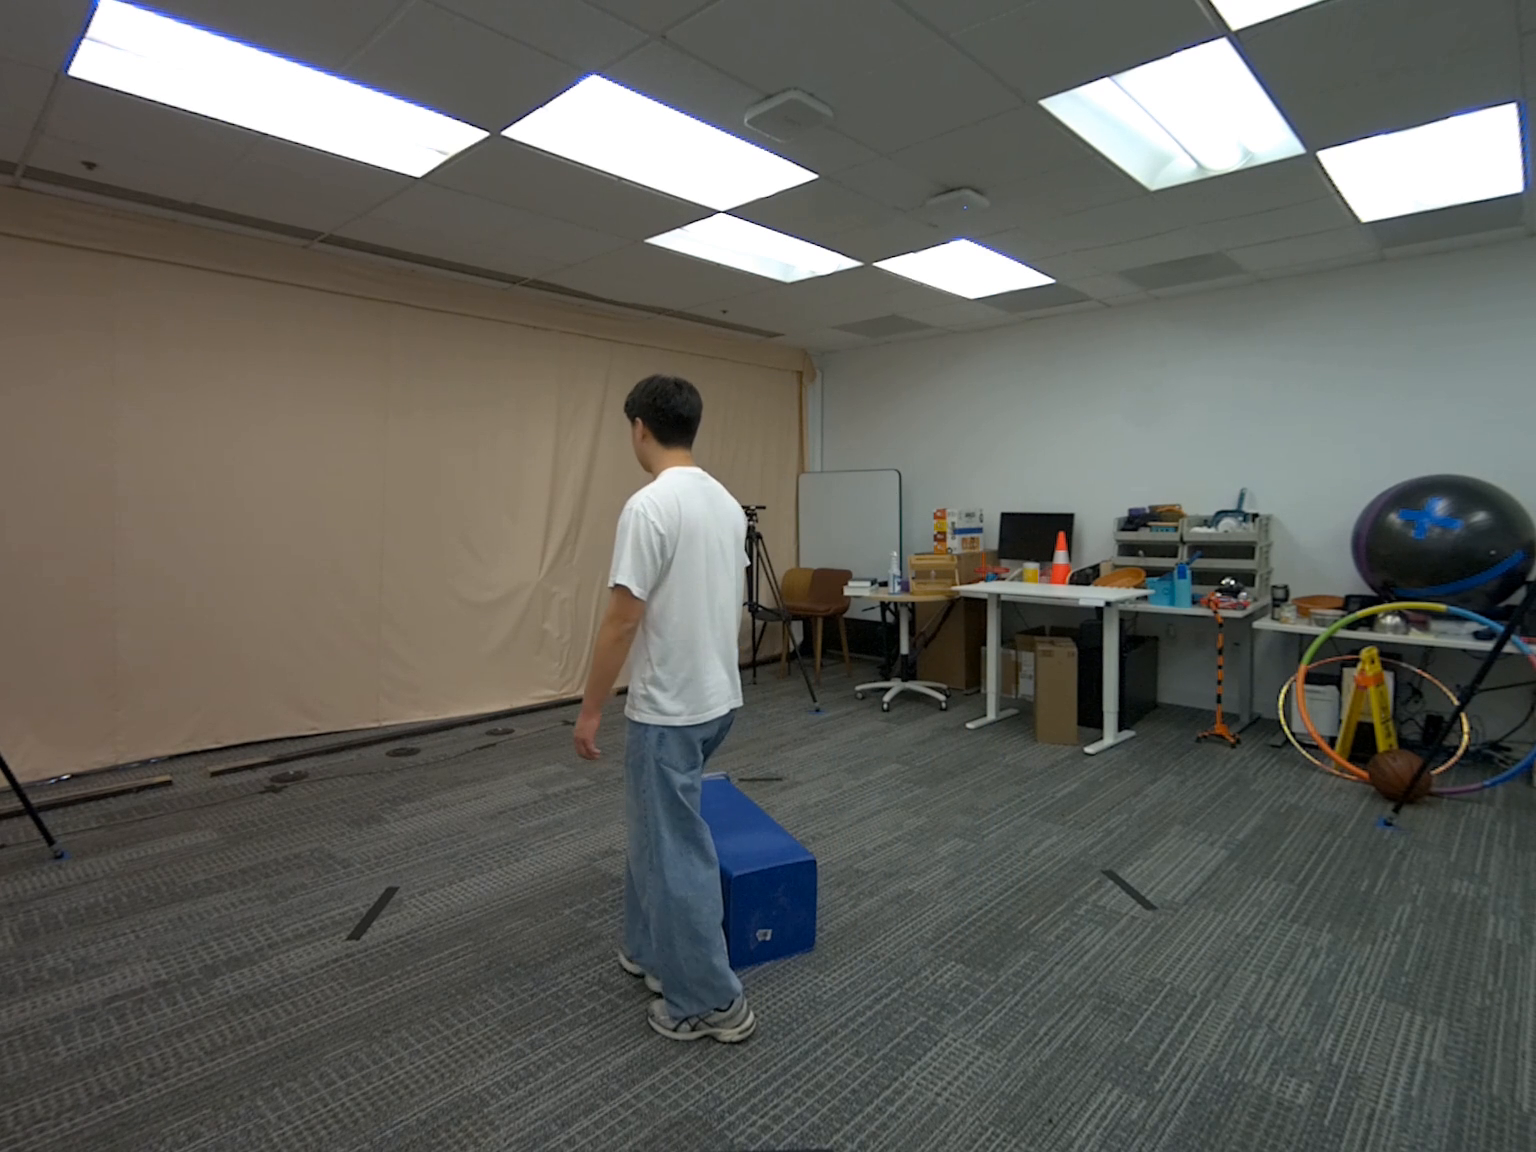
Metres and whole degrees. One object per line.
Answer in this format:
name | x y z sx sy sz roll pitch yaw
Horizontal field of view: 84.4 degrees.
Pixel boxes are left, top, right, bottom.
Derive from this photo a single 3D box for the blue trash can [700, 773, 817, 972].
blue trash can | -0.143 0.989 2.882 0.365 0.376 0.734 -2 8 -28
